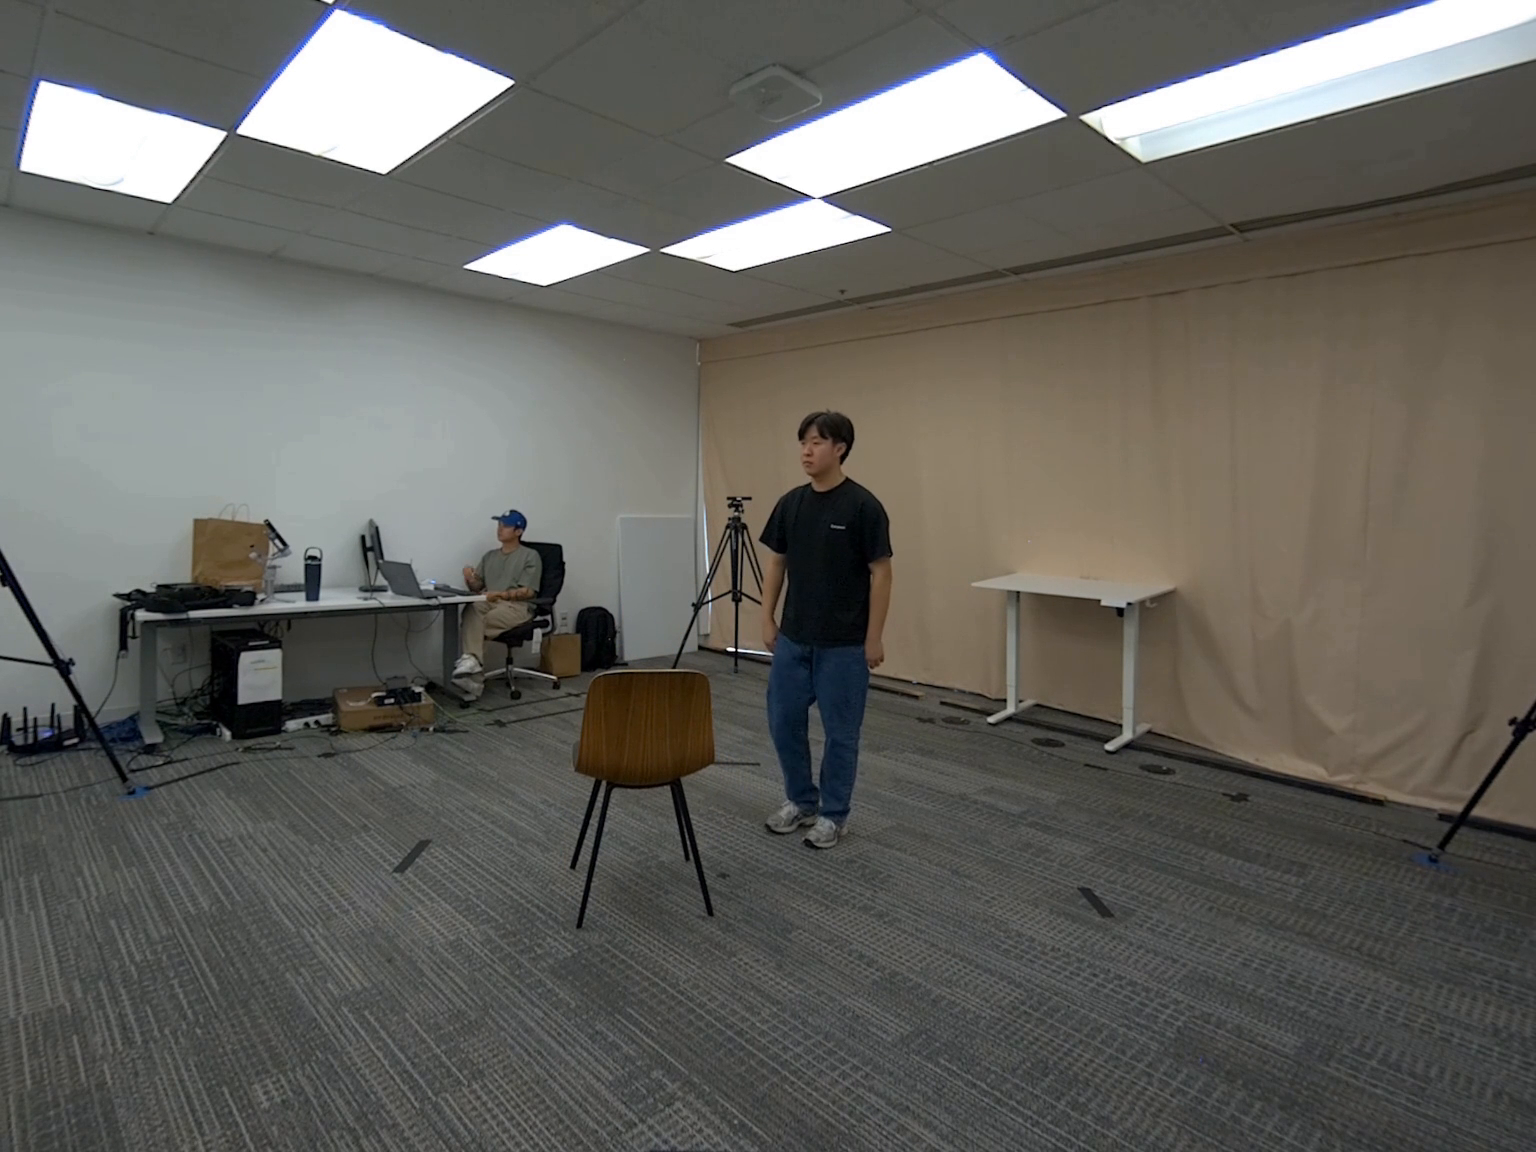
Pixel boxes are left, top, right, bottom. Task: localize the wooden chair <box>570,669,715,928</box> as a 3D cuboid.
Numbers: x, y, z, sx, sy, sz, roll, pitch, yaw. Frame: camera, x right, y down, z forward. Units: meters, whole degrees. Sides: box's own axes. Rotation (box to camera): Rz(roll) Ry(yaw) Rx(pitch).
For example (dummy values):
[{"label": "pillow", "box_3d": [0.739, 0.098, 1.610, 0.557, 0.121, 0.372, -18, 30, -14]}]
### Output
[{"label": "wooden chair", "box_3d": [-0.448, 0.690, 2.940, 0.473, 0.873, 0.532, 0, 8, -15]}]
